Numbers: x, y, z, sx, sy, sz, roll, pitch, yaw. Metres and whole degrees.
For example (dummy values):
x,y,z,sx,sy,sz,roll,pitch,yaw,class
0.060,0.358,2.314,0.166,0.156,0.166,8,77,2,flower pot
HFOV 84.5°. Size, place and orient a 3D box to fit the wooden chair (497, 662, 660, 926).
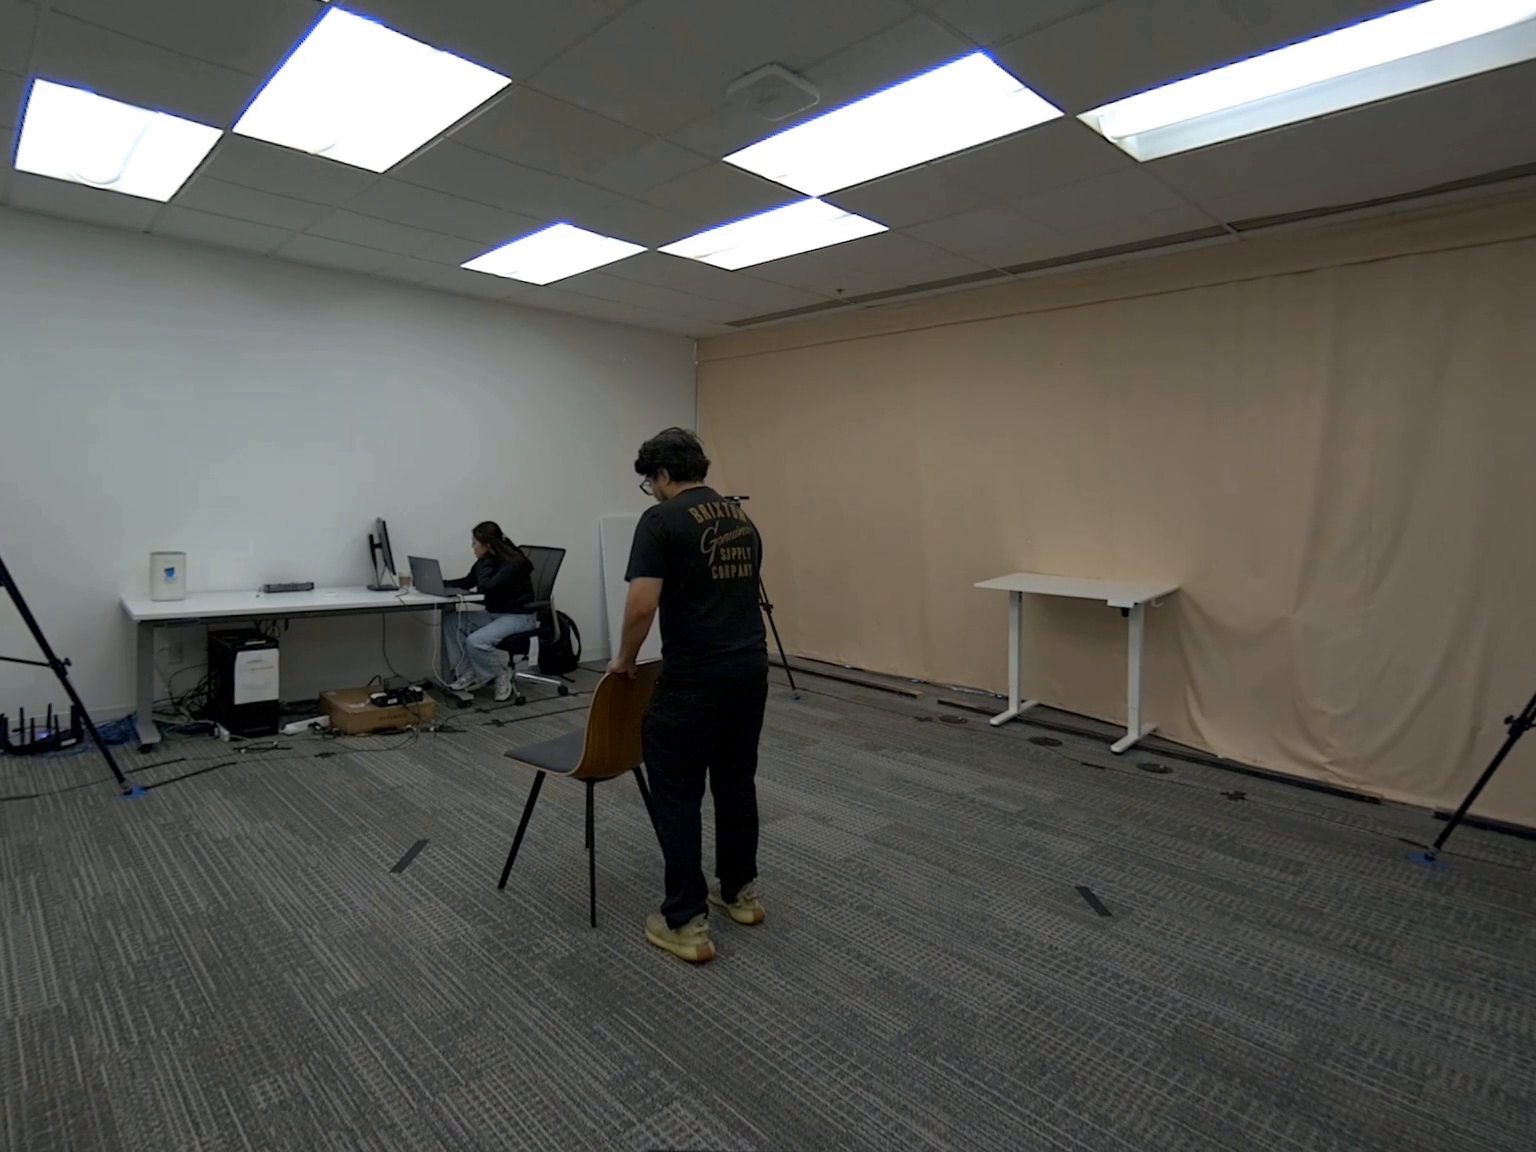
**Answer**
x,y,z,sx,sy,sz,roll,pitch,yaw,class
-0.636,0.675,2.985,0.536,0.873,0.468,9,7,32,wooden chair
